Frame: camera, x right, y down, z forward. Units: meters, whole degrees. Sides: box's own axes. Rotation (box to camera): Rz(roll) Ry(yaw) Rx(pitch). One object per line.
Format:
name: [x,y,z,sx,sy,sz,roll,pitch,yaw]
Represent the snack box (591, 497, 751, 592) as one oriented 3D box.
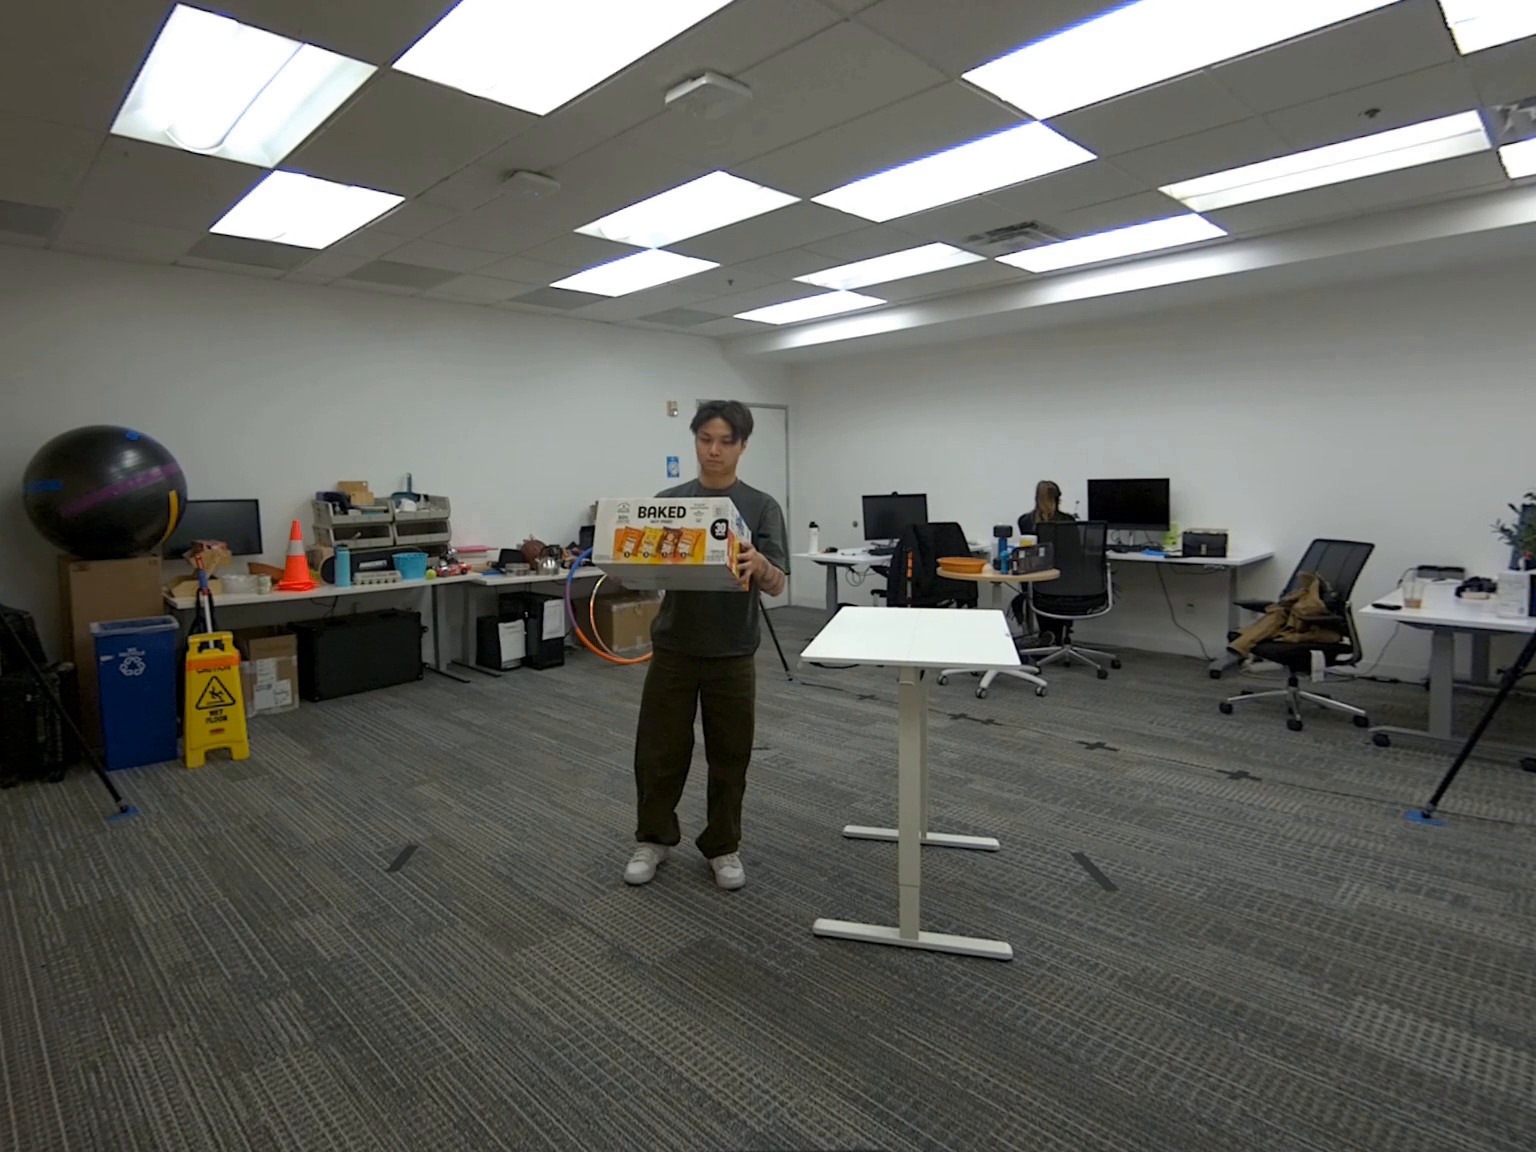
snack box: [-0.291,-0.093,2.640,0.410,0.208,0.332,0,-15,11]
